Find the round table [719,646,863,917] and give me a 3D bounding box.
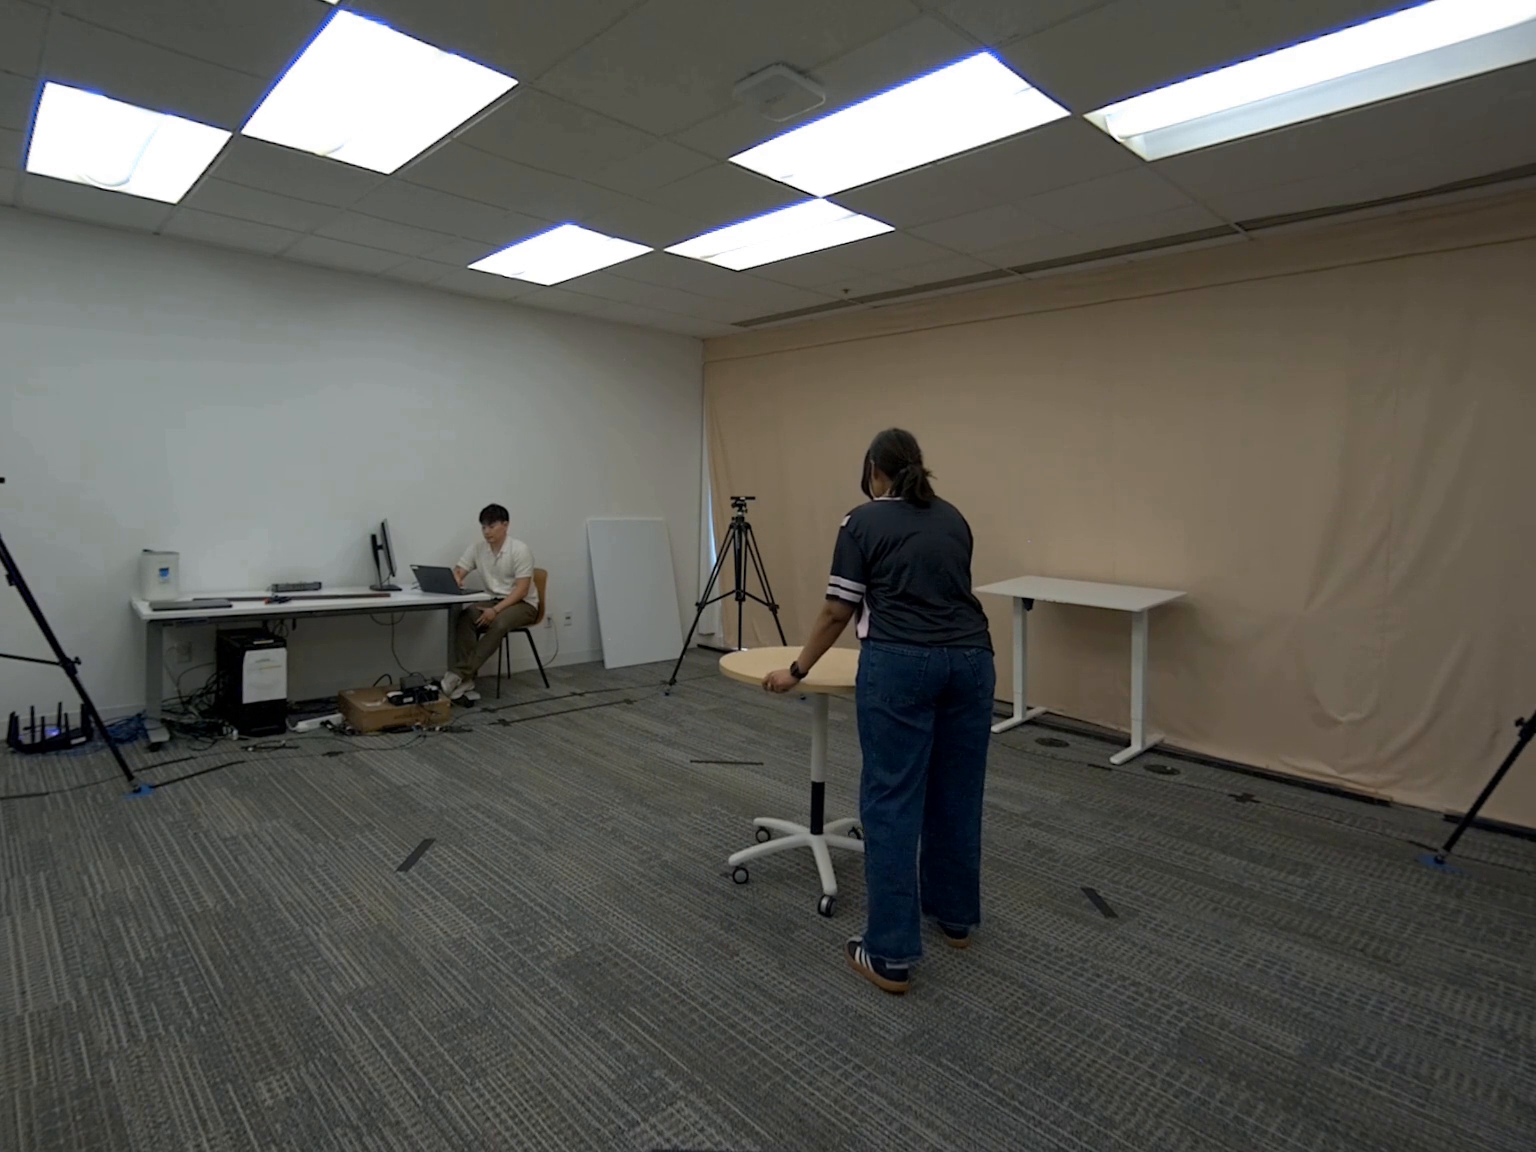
[{"bbox_3d":[0.181,0.716,3.137,0.784,0.785,0.787,2,4,-1],"label":"round table"}]
